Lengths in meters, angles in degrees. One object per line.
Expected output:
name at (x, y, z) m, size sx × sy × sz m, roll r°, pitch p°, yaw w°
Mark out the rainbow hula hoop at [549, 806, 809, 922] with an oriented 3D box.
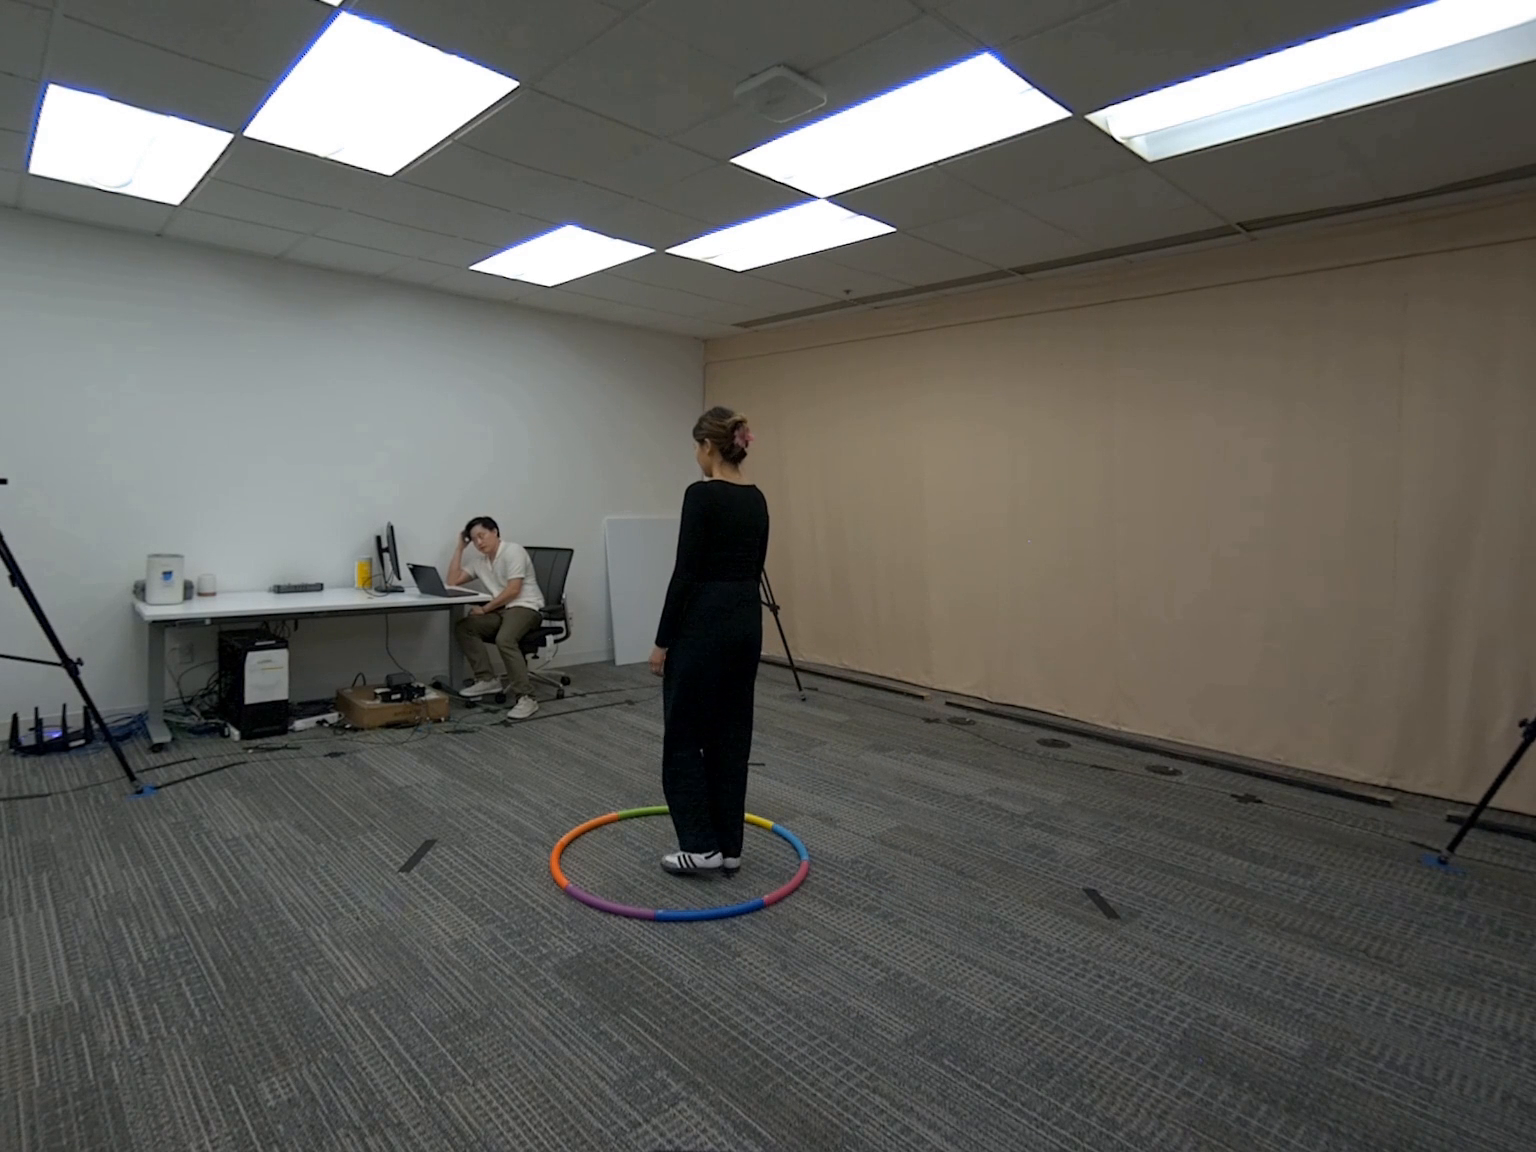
rainbow hula hoop at (-0.339, 1.062, 3.239) m, size 0.978 × 0.035 × 0.982 m, roll 1°, pitch 5°, yaw -1°
